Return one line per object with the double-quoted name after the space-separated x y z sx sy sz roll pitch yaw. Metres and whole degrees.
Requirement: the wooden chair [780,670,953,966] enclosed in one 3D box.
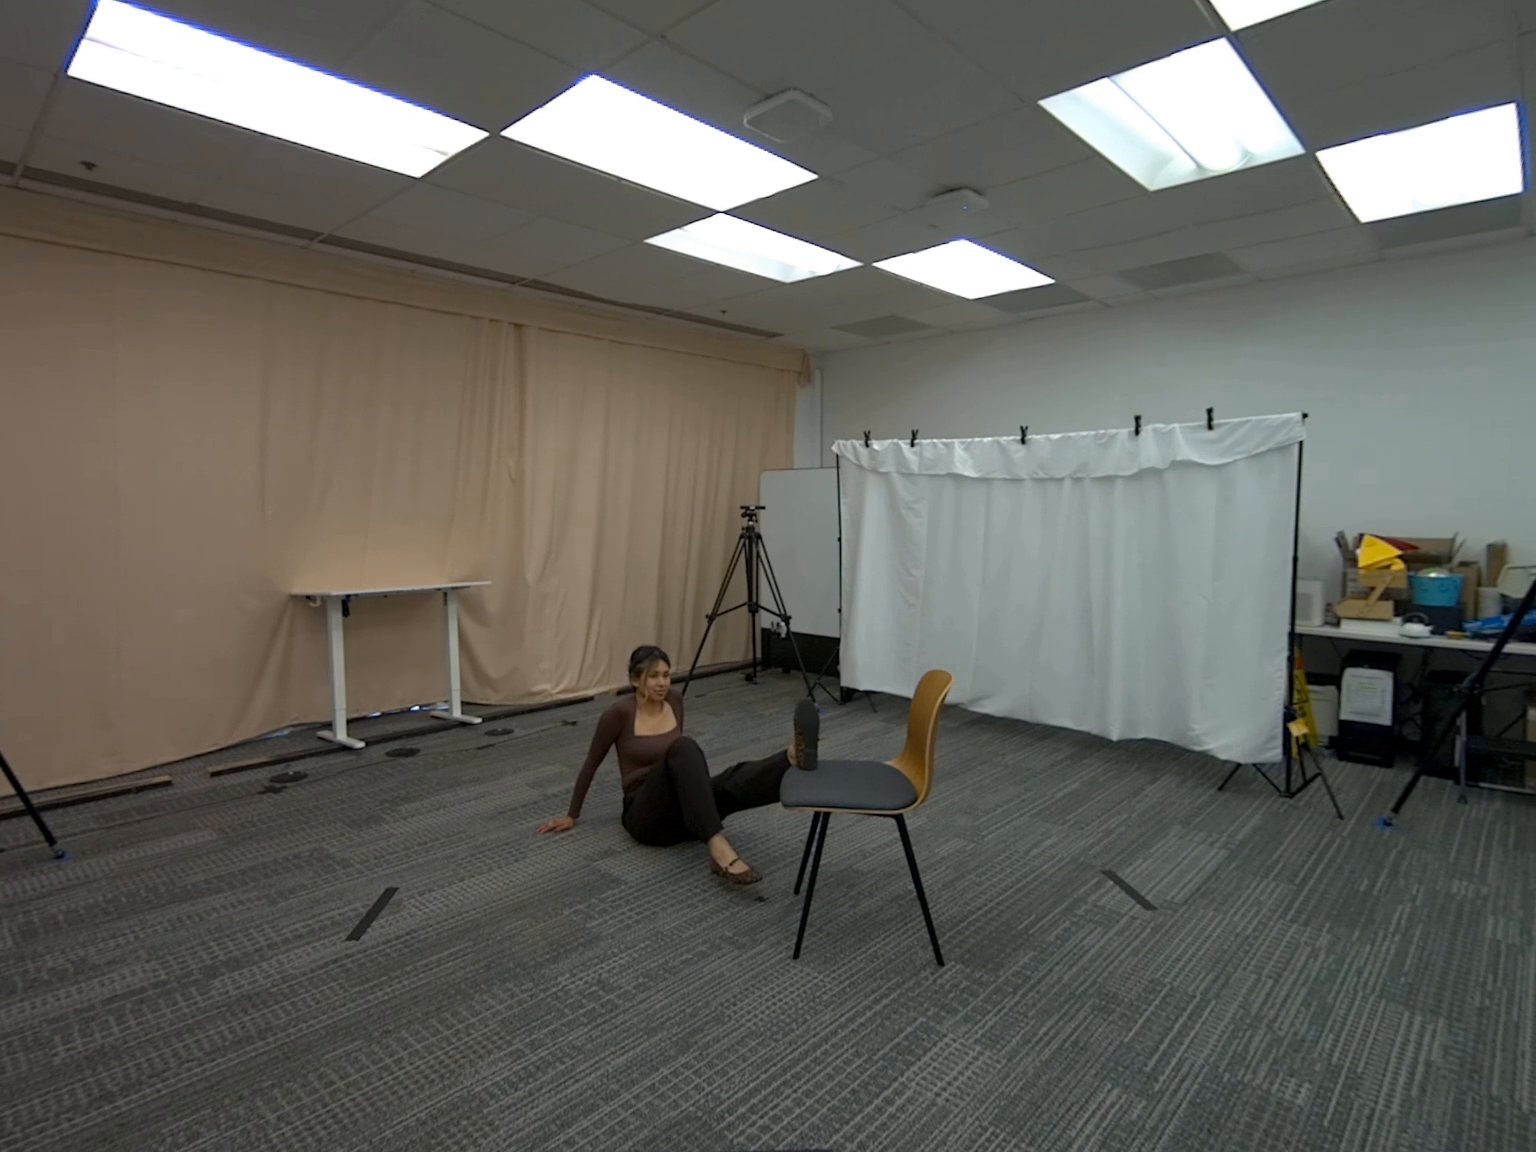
0.310 0.735 2.754 0.526 0.875 0.476 4 4 4 "wooden chair"
